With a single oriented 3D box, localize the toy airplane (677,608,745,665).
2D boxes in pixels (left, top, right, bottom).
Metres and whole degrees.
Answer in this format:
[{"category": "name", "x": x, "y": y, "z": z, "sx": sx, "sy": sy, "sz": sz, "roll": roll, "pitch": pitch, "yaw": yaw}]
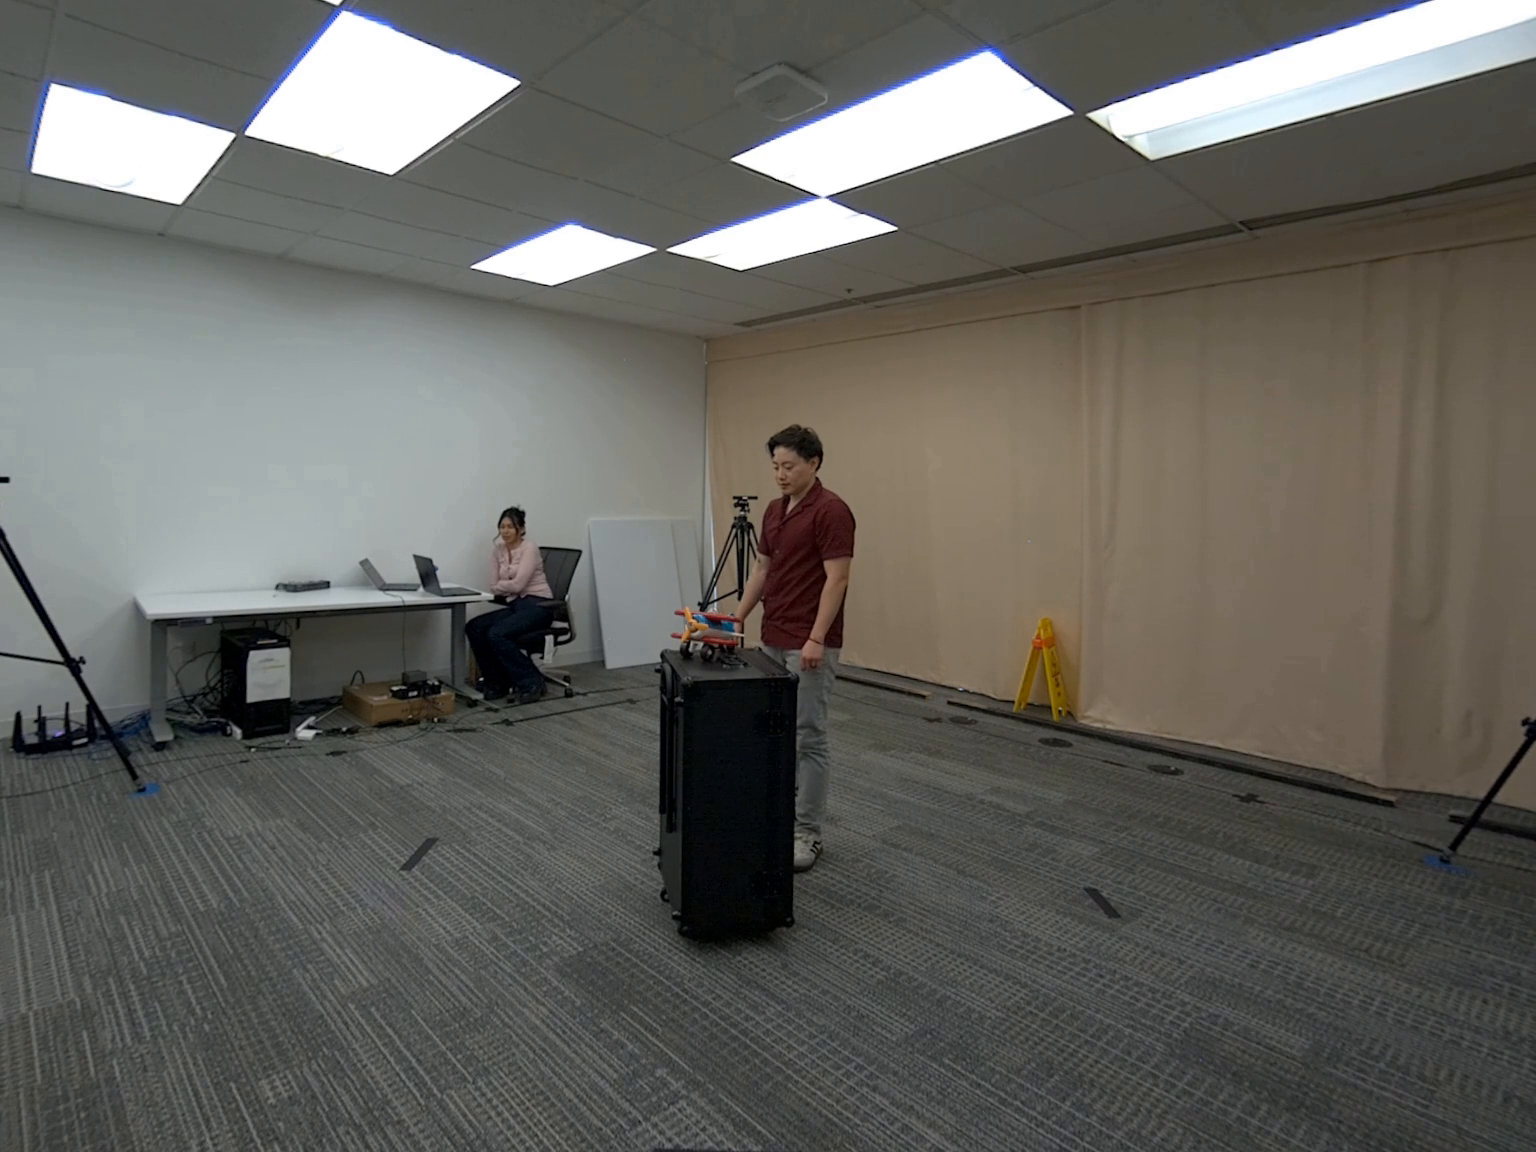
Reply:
[{"category": "toy airplane", "x": -0.215, "y": 0.190, "z": 2.893, "sx": 0.252, "sy": 0.156, "sz": 0.259, "roll": 2, "pitch": 6, "yaw": 4}]
